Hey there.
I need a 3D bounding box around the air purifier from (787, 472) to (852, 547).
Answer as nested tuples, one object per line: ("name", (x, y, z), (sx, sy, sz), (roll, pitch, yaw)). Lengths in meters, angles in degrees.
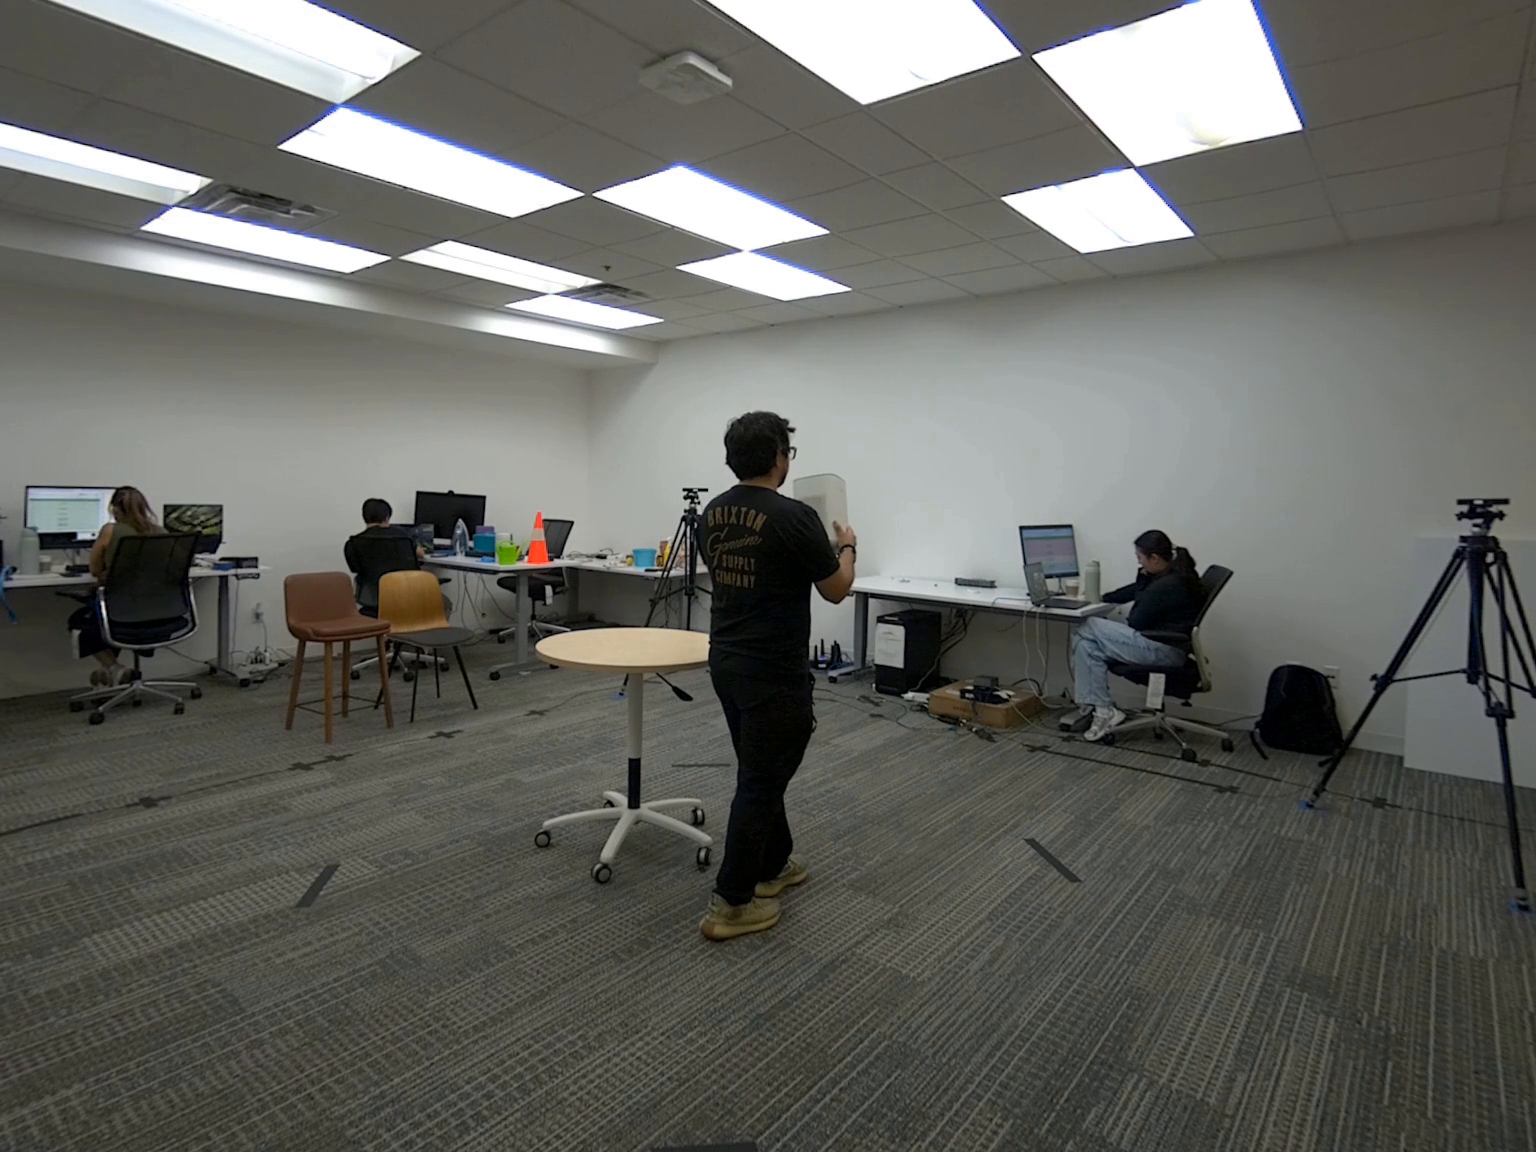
("air purifier", (0.188, -0.211, 3.040), (0.175, 0.269, 0.165), (-9, -14, 25))
